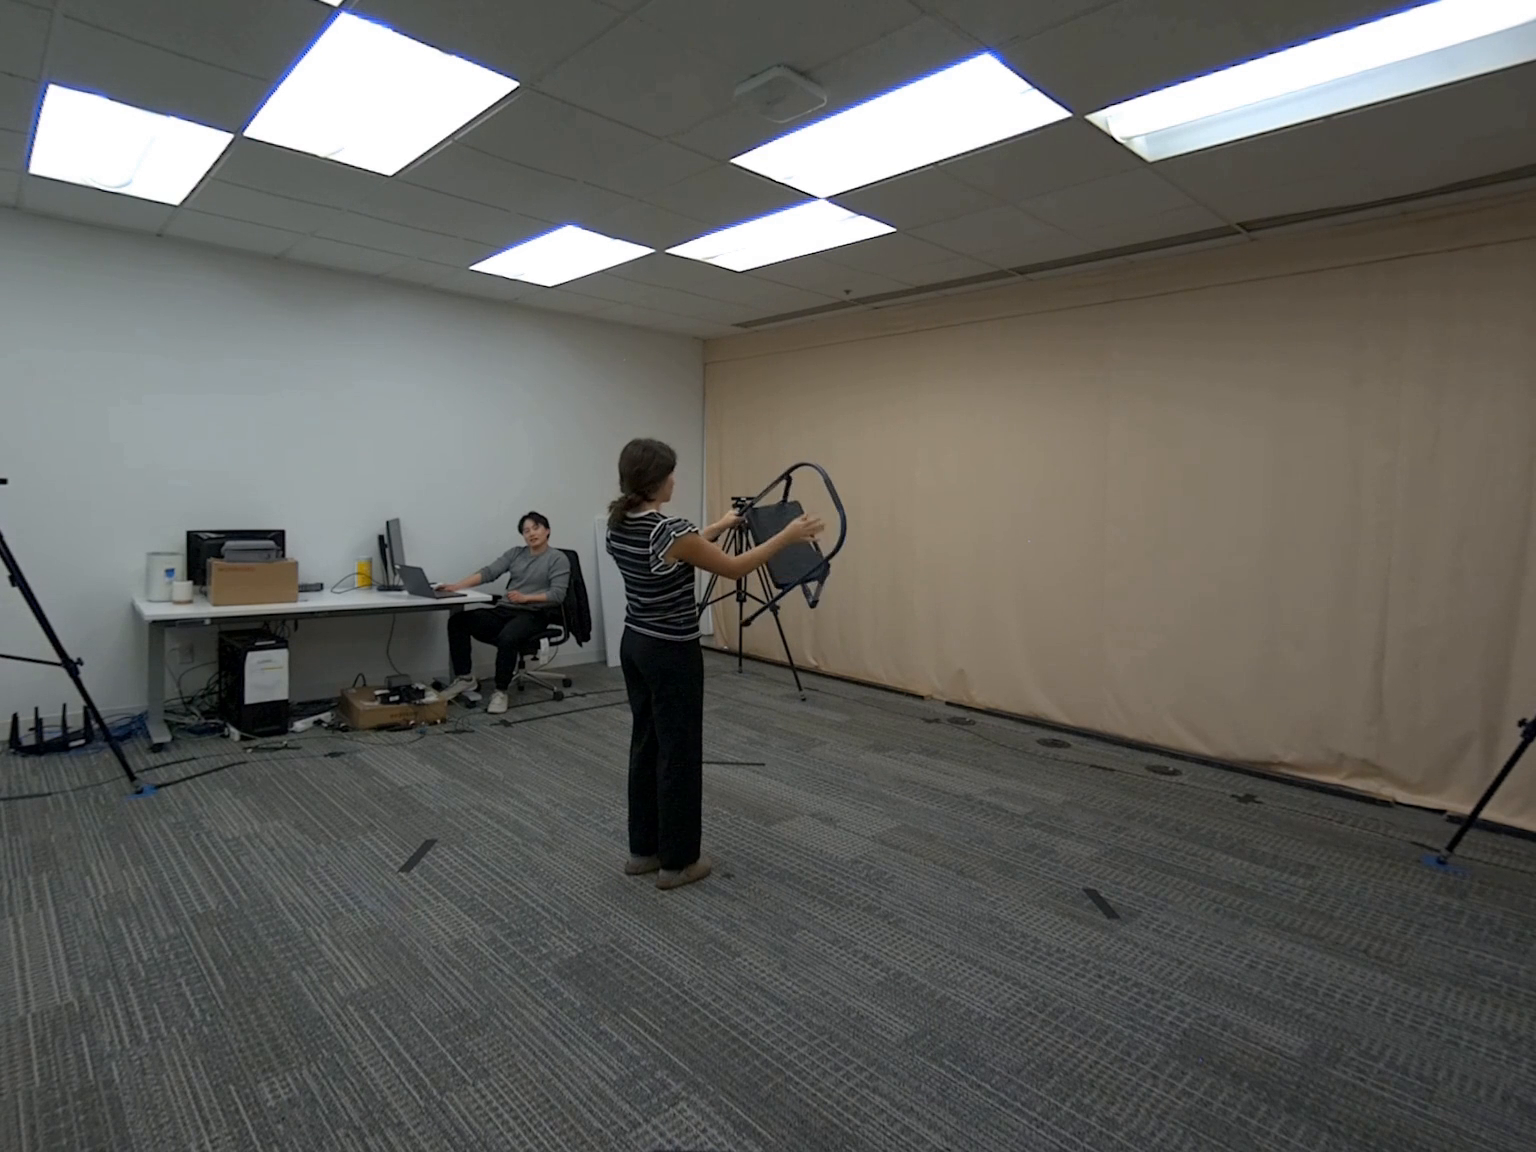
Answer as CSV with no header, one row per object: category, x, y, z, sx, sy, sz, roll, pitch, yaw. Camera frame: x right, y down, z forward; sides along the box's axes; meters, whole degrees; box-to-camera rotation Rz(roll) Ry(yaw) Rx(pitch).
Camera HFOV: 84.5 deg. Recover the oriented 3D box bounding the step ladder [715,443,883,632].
step ladder,0.073,-0.142,3.276,0.344,0.440,0.602,-11,-25,-27
